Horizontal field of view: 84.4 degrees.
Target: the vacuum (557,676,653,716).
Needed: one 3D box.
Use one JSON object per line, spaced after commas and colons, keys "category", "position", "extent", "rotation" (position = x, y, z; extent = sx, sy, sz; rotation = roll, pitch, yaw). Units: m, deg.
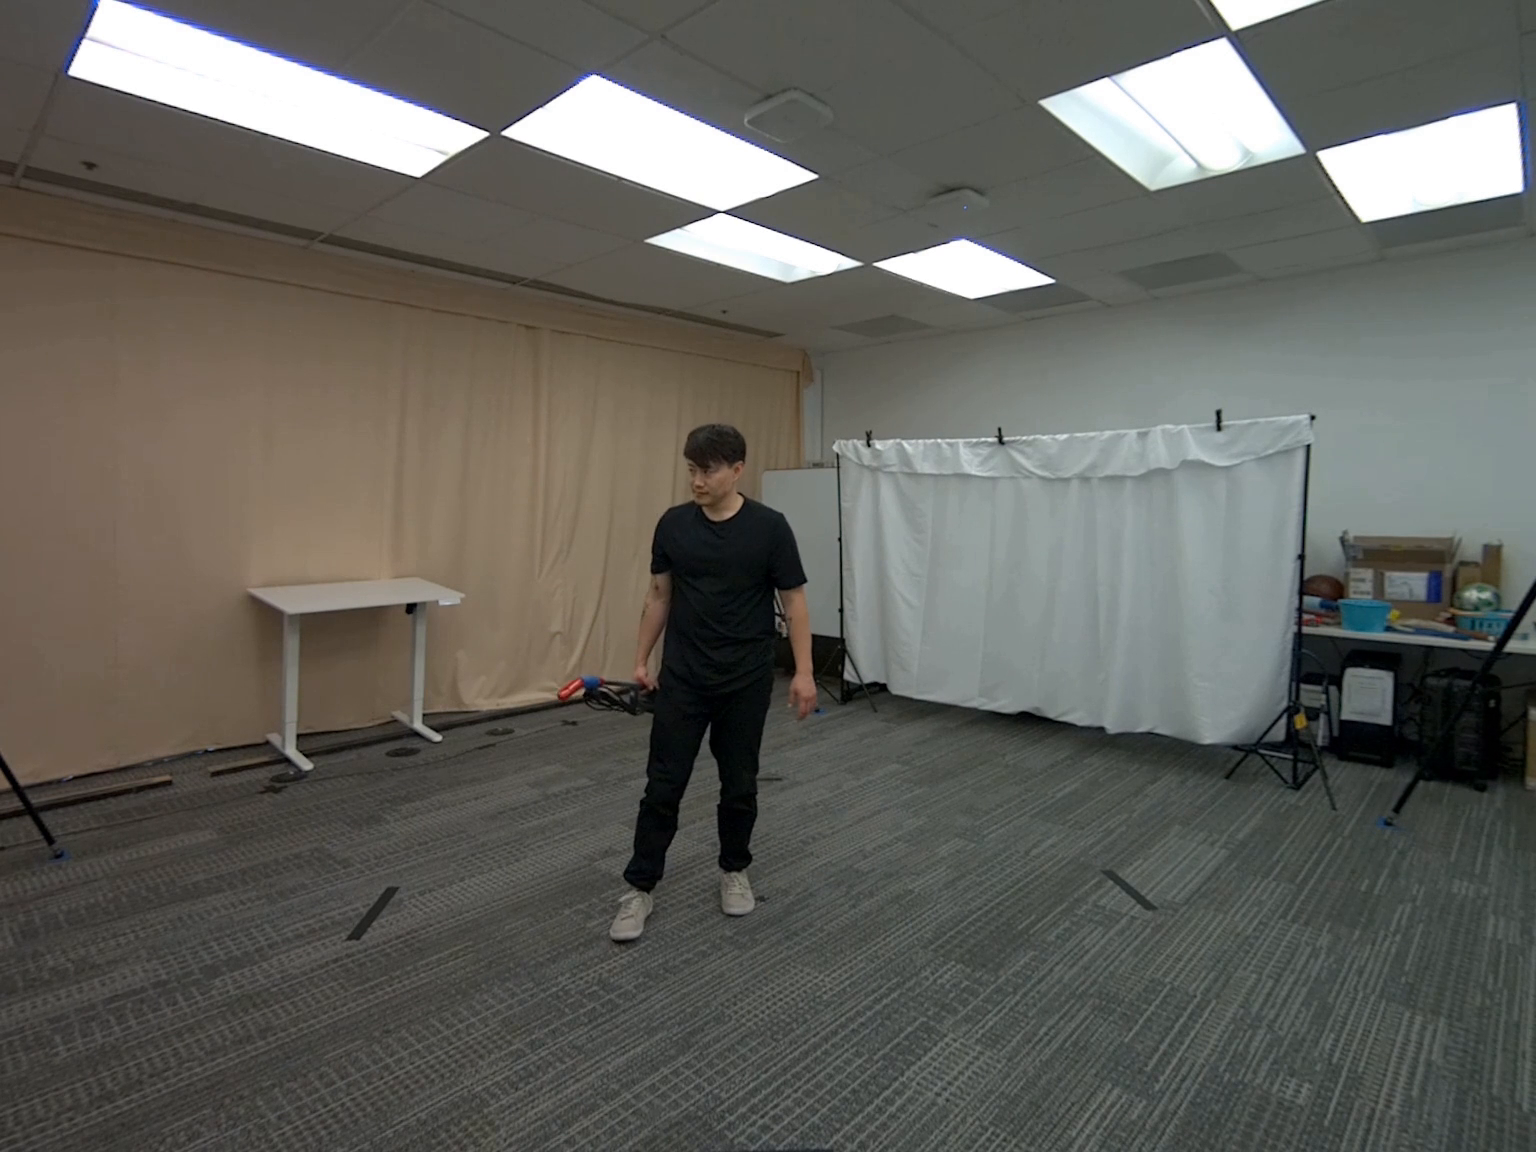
{"category": "vacuum", "position": [-0.474, 0.412, 2.861], "extent": [0.257, 0.144, 1.027], "rotation": [10, -7, 14]}
